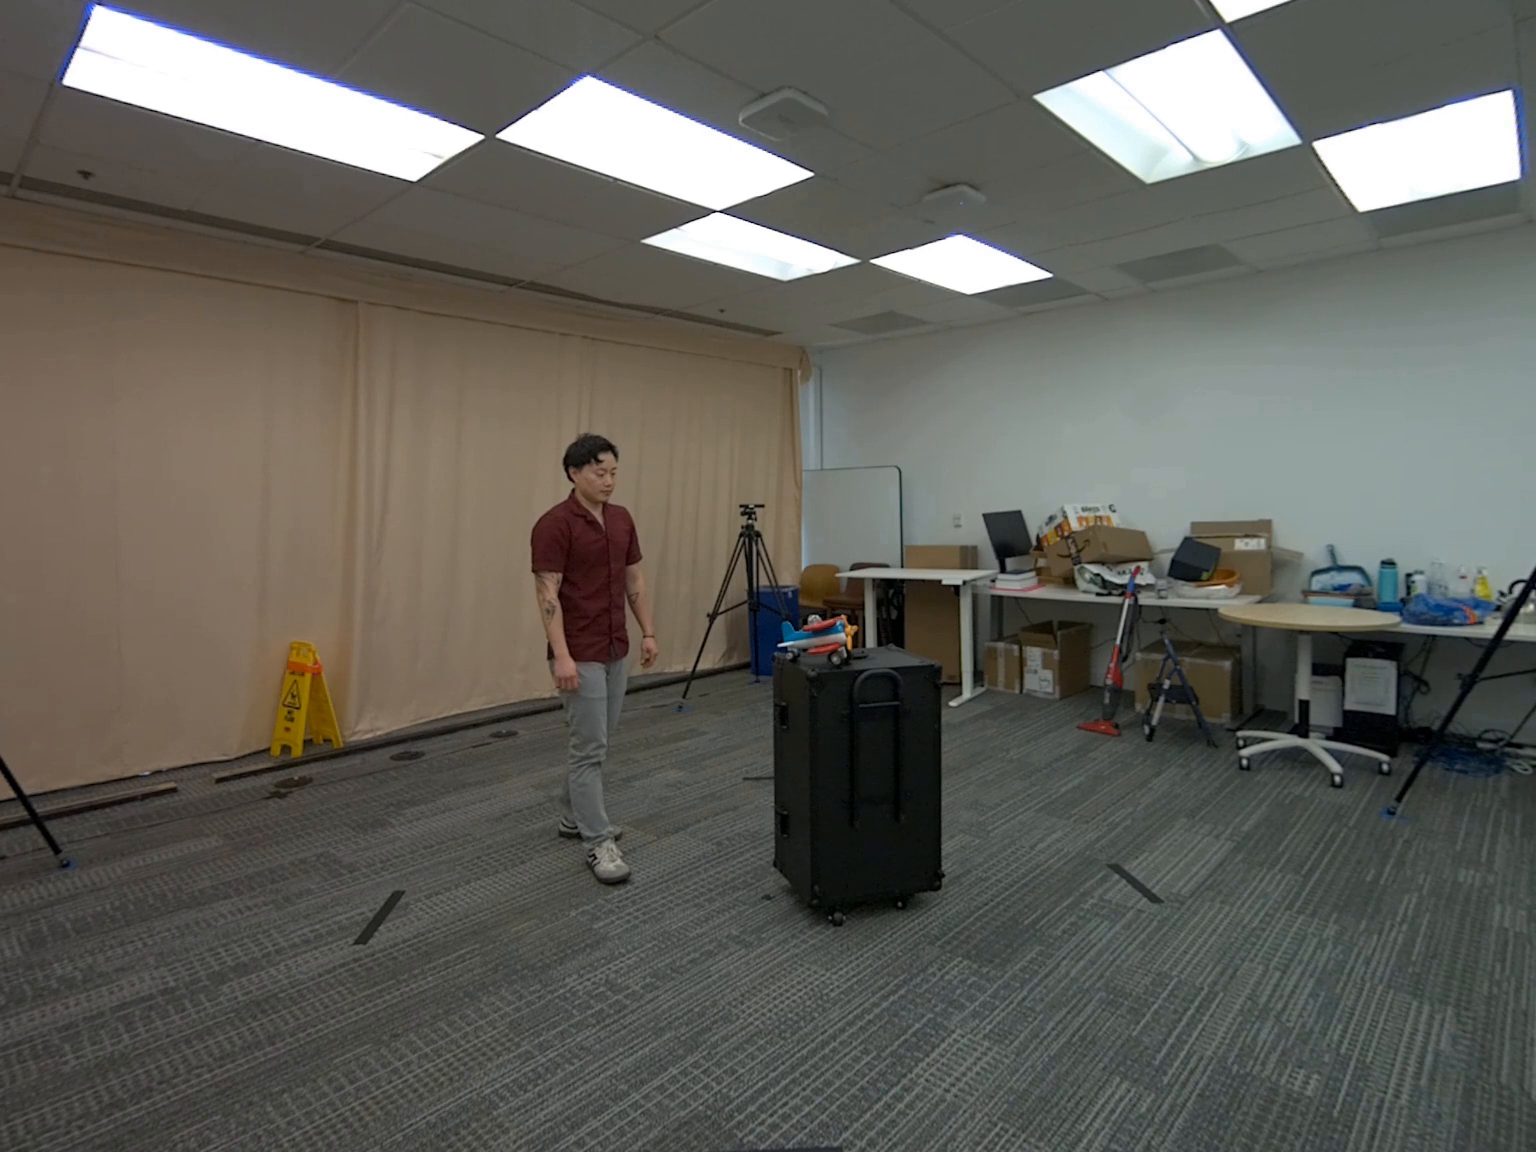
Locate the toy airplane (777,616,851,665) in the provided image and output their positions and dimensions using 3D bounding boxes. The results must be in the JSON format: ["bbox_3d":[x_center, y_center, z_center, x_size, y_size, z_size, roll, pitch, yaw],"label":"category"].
[{"bbox_3d":[0.162,0.217,2.849,0.260,0.156,0.251,0,4,1],"label":"toy airplane"}]
